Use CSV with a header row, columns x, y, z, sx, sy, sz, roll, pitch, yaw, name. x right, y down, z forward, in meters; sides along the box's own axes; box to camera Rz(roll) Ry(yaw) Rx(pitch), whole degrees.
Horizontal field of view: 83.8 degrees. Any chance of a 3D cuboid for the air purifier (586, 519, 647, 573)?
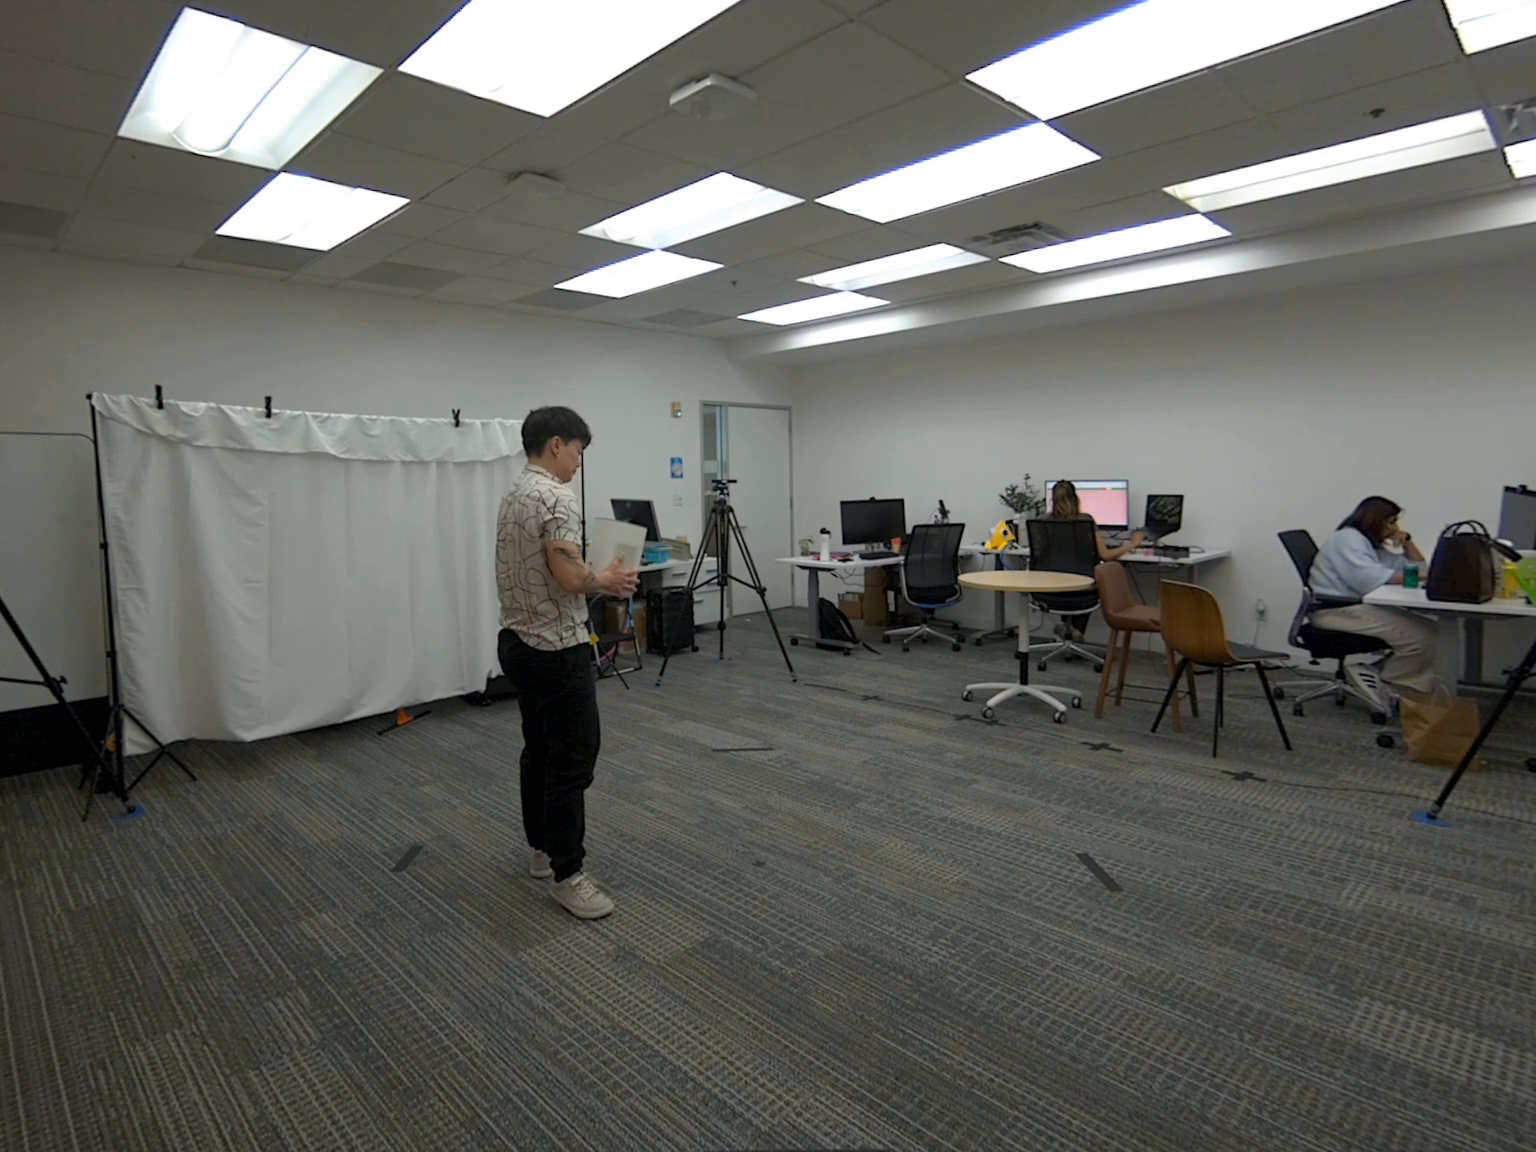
x,y,z,sx,sy,sz,roll,pitch,yaw,name
-0.583,-0.062,3.119,0.167,0.266,0.175,13,-4,-22,air purifier
